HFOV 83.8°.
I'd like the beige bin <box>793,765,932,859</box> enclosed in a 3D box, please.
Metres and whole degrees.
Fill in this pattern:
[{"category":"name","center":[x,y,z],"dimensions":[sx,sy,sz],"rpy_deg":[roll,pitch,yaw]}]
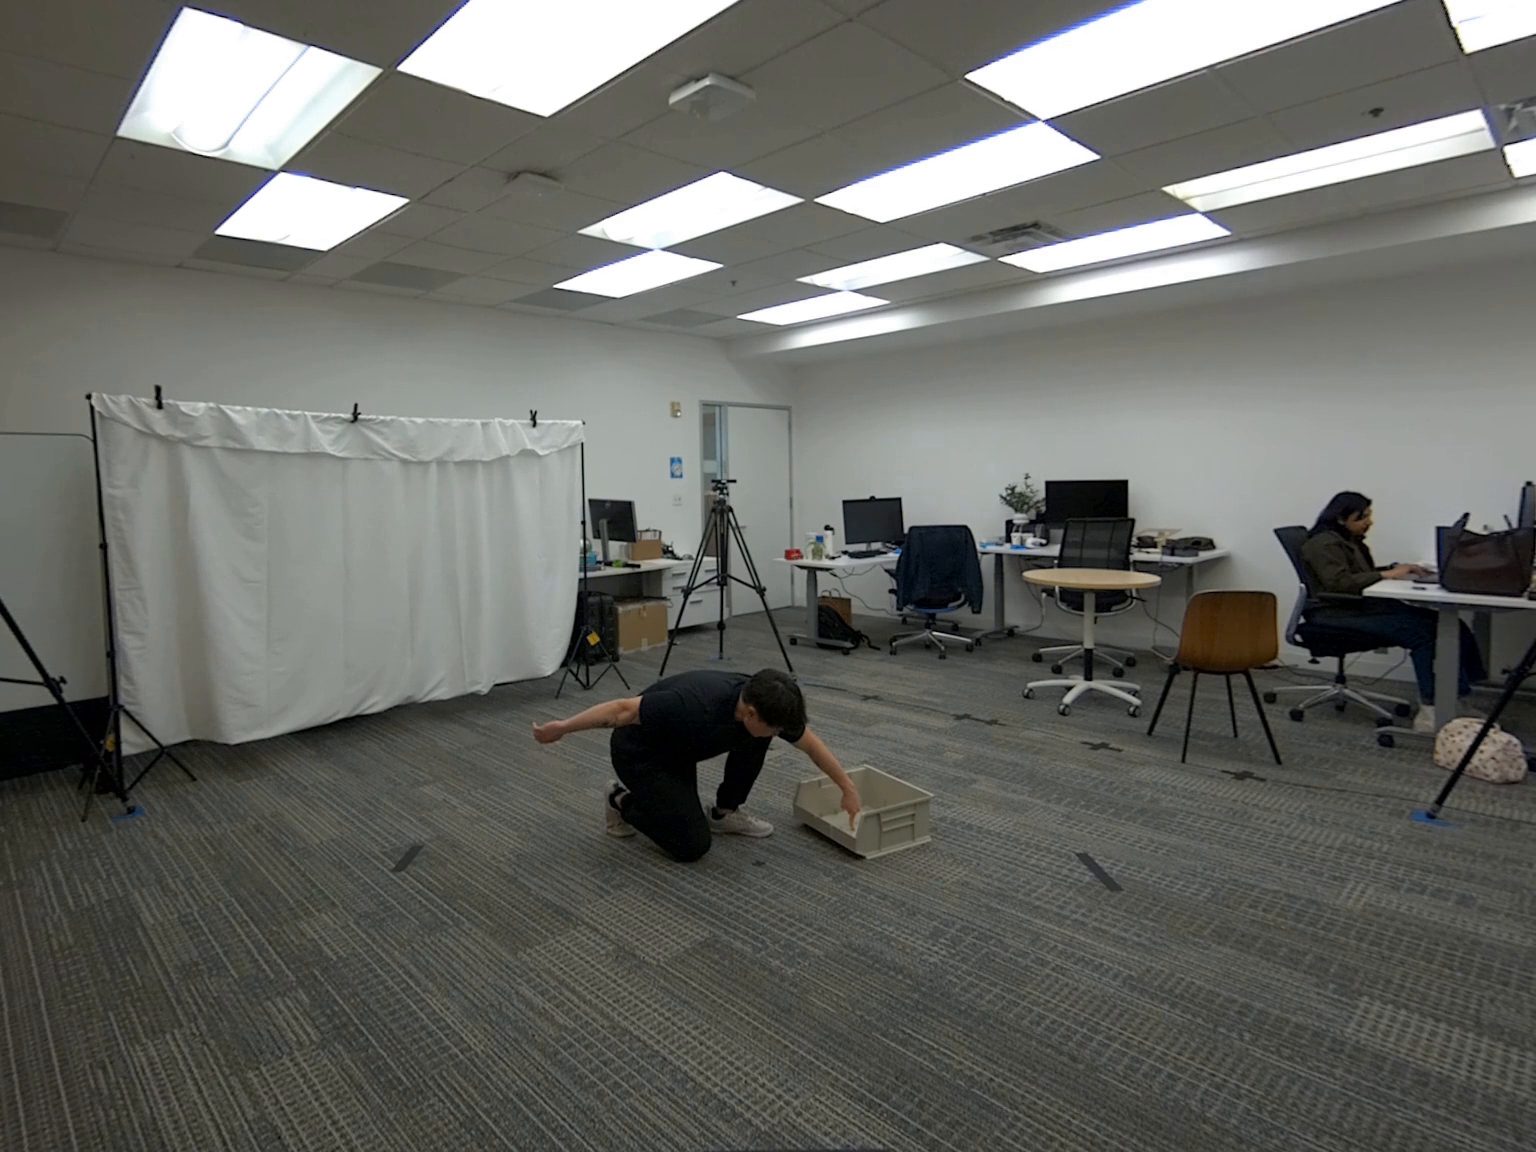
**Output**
[{"category":"beige bin","center":[0.364,0.916,3.357],"dimensions":[0.368,0.188,0.434],"rpy_deg":[-4,6,-31]}]
